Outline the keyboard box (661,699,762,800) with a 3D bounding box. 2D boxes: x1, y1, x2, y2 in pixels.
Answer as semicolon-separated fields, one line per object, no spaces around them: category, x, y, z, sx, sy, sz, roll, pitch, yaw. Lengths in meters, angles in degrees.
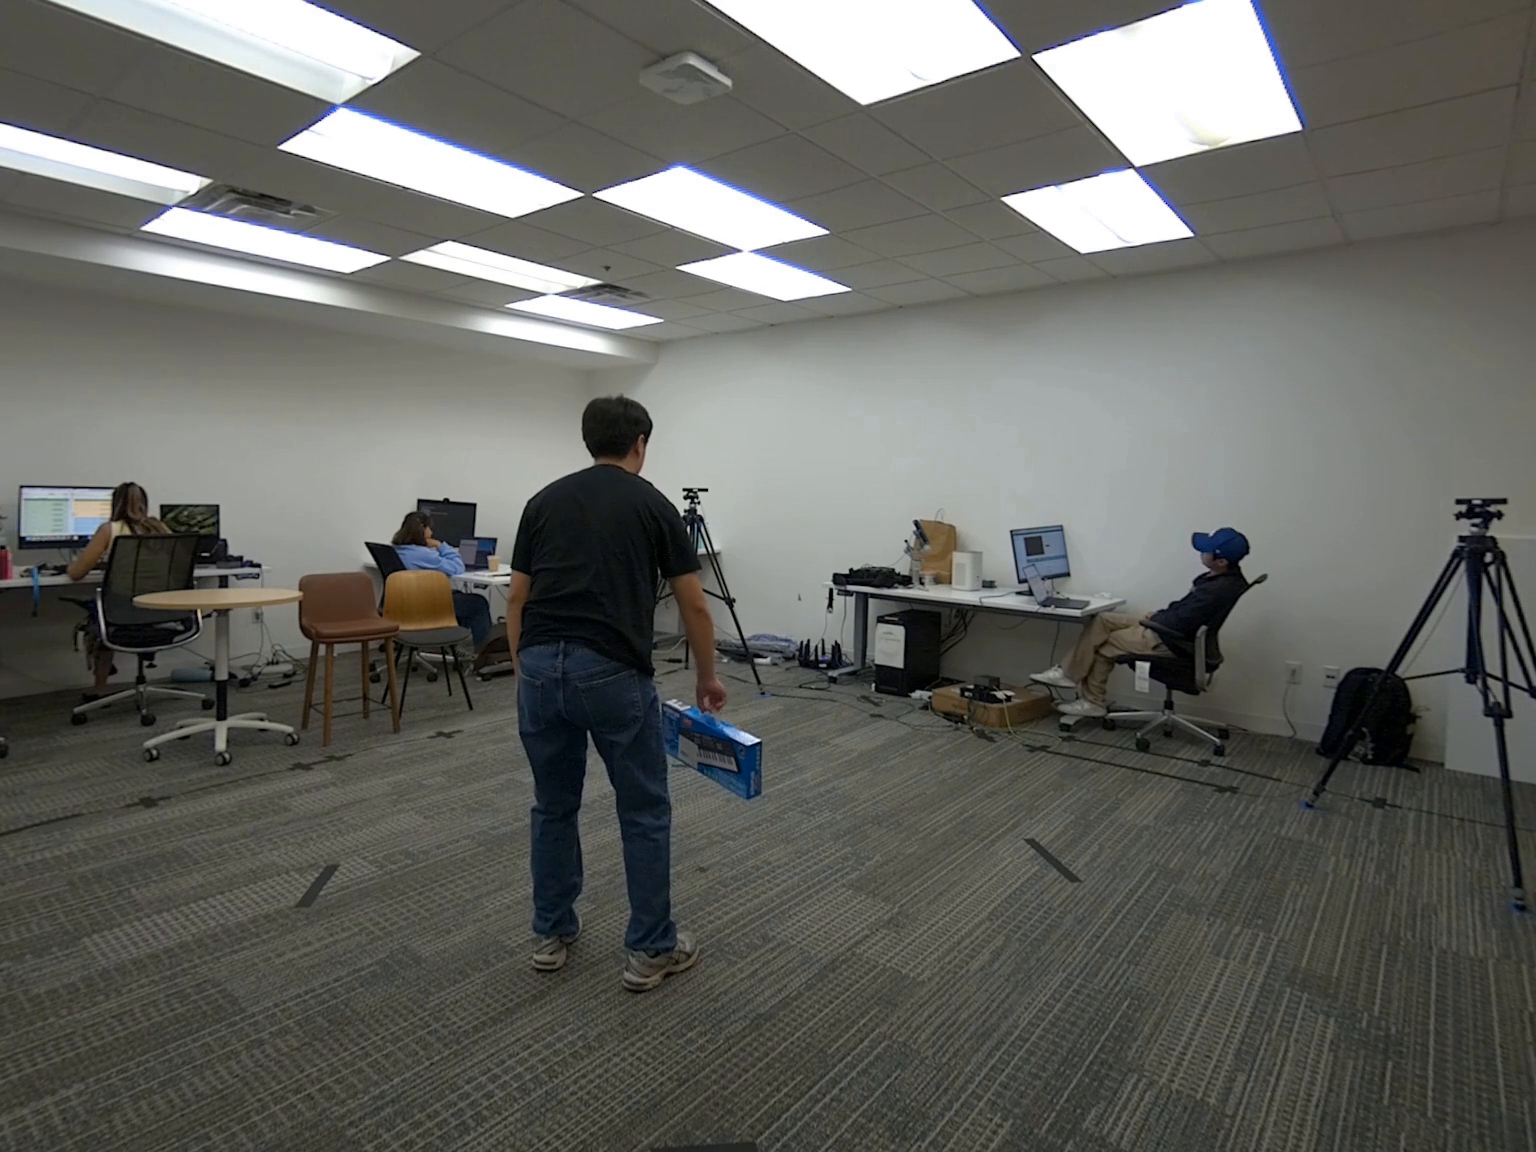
keyboard box;-0.196;0.535;2.653;0.057;0.174;0.453;-7;14;-40
